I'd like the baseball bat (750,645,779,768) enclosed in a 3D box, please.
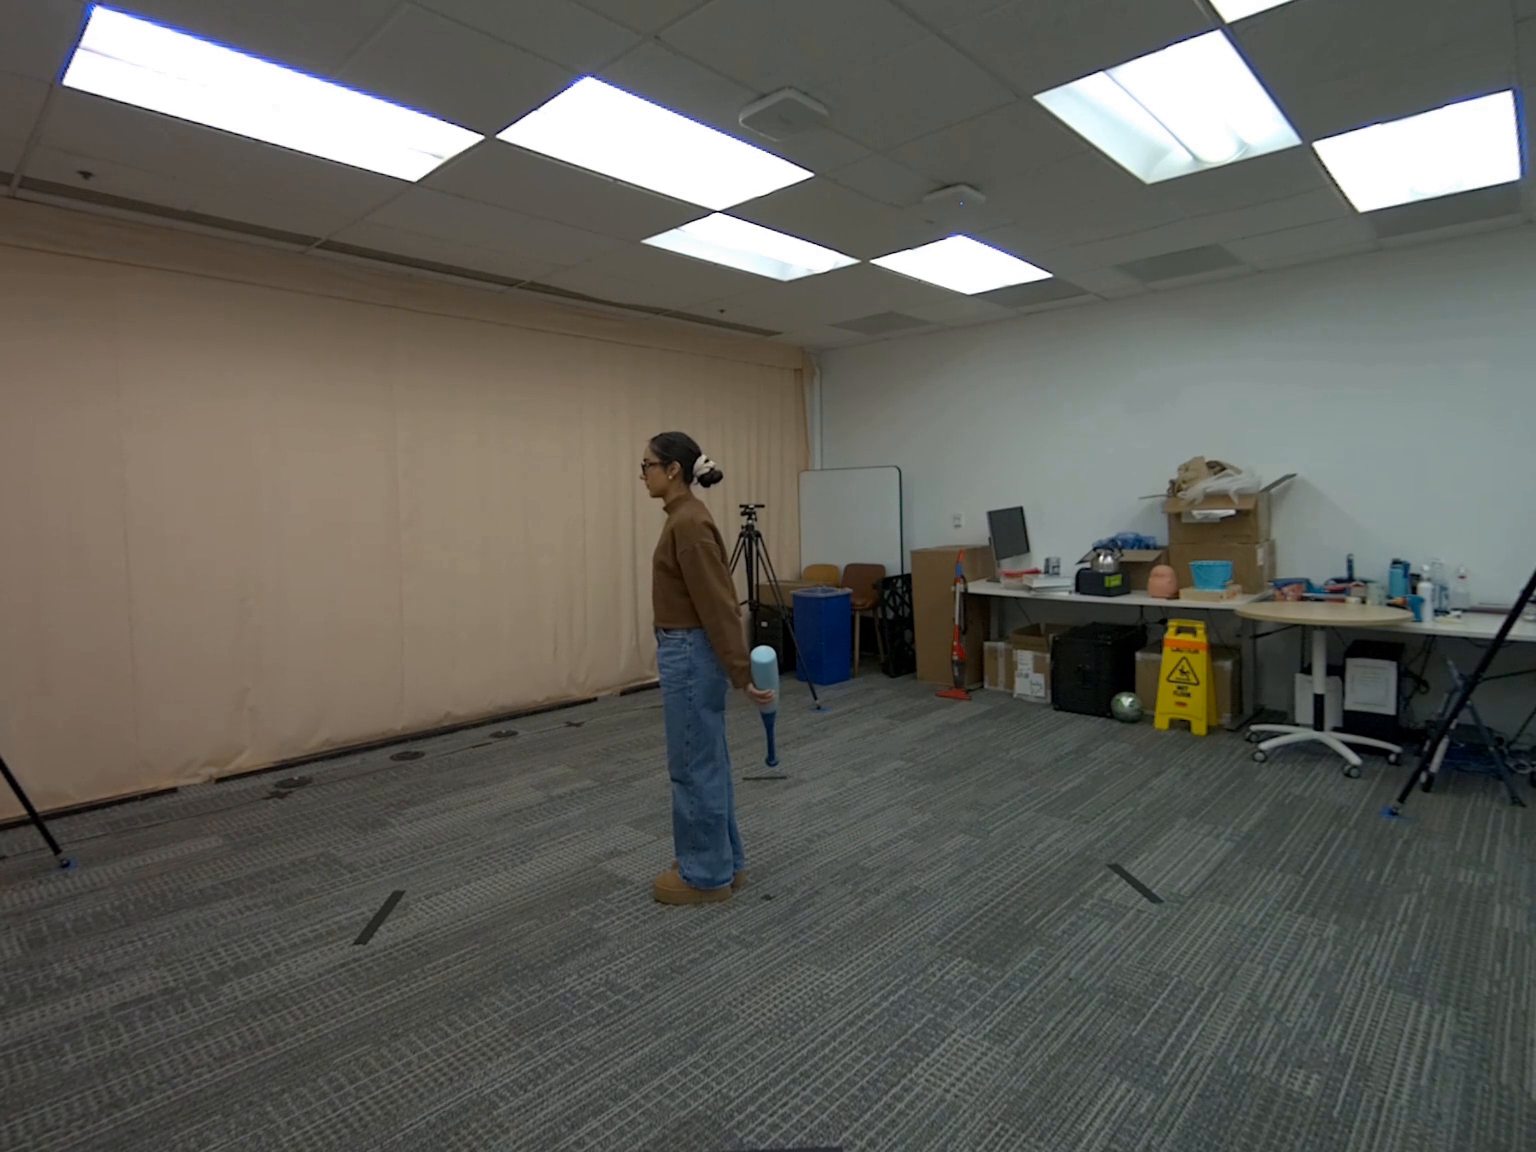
[{"bbox_3d":[-0.008,0.464,2.886,0.089,0.532,0.091,-3,36,0],"label":"baseball bat"}]
